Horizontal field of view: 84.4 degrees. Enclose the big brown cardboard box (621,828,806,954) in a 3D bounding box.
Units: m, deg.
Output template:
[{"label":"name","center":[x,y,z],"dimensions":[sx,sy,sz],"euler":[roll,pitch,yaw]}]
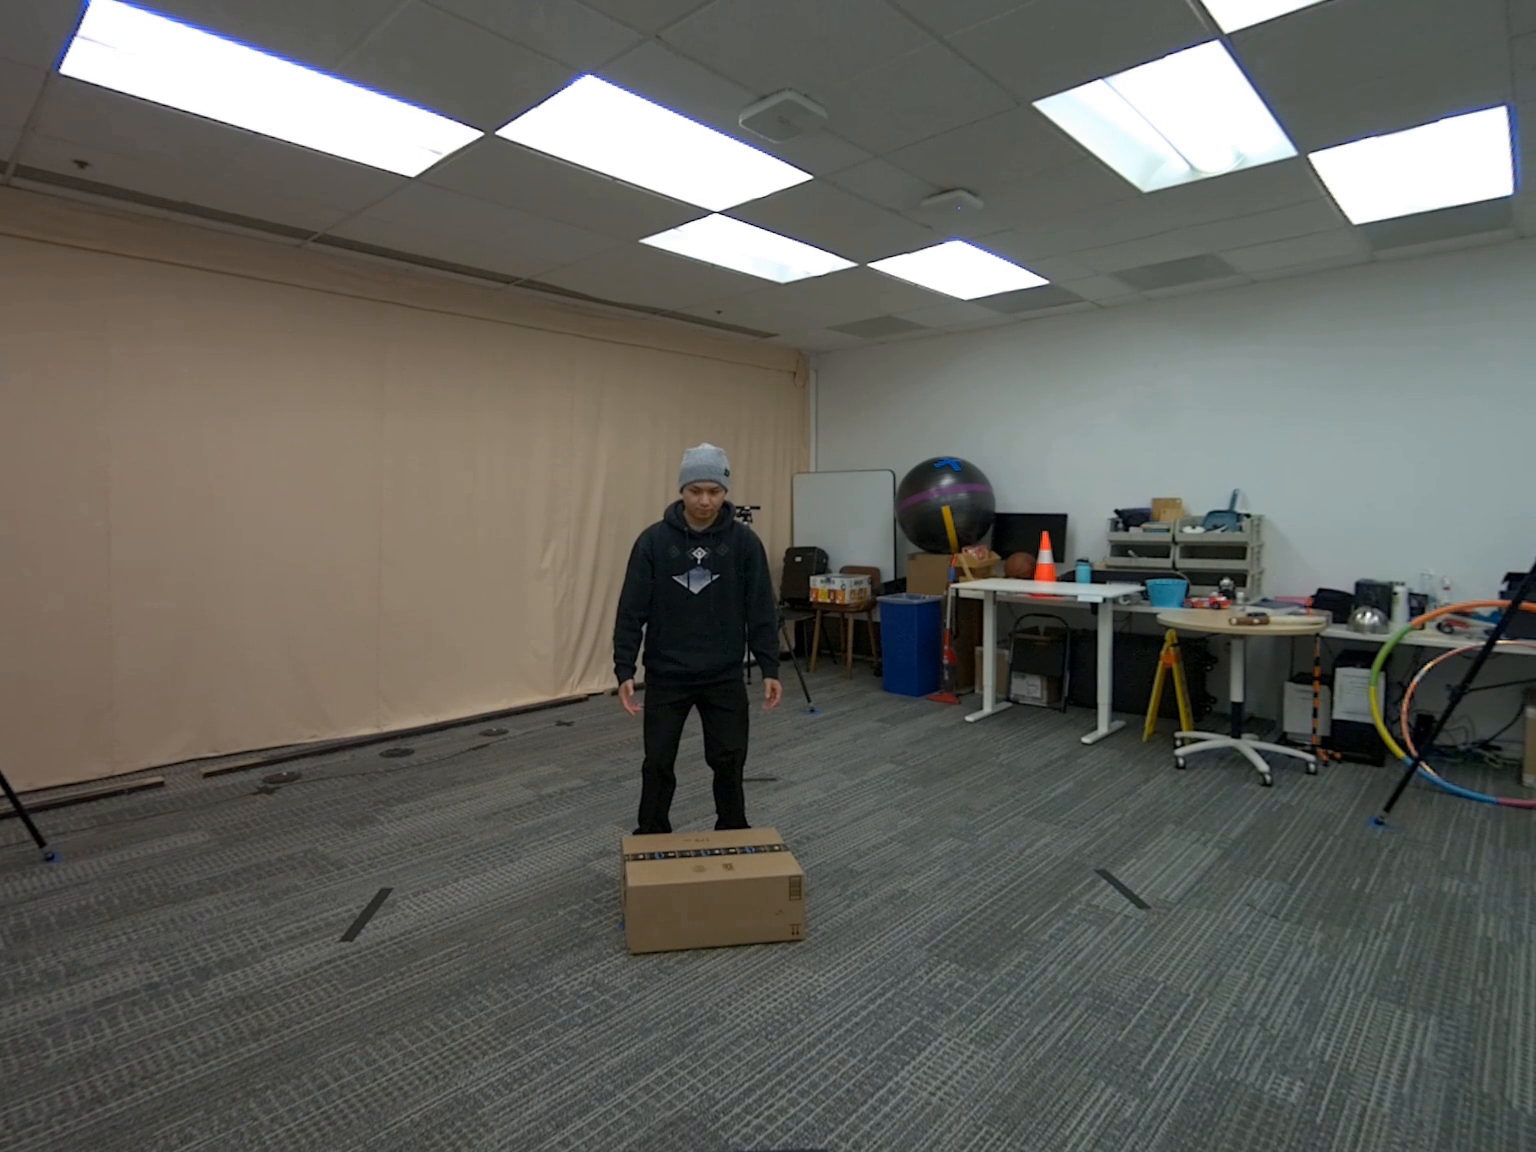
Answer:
[{"label":"big brown cardboard box","center":[-0.203,1.043,2.845],"dimensions":[0.583,0.233,0.422],"euler":[-2,4,-9]}]
